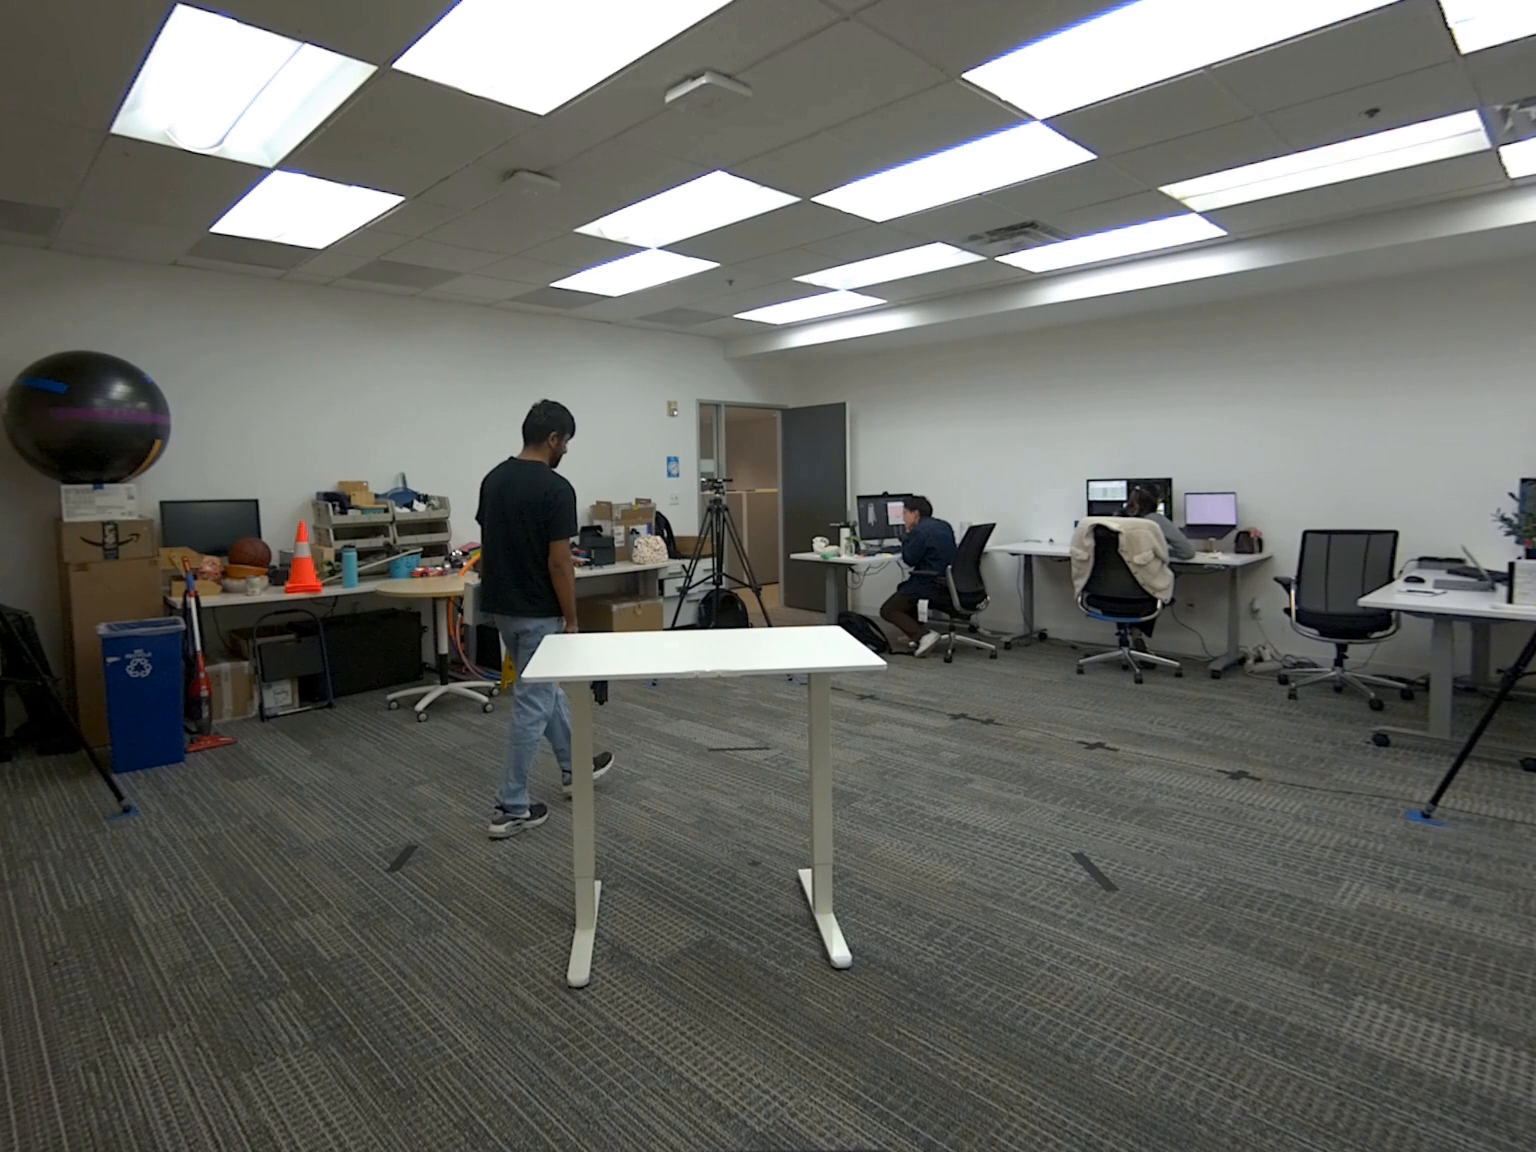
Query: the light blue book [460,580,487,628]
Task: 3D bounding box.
[{"bbox_3d":[-1.143,0.089,3.602,0.061,0.189,0.256,16,20,33],"label":"light blue book"}]
